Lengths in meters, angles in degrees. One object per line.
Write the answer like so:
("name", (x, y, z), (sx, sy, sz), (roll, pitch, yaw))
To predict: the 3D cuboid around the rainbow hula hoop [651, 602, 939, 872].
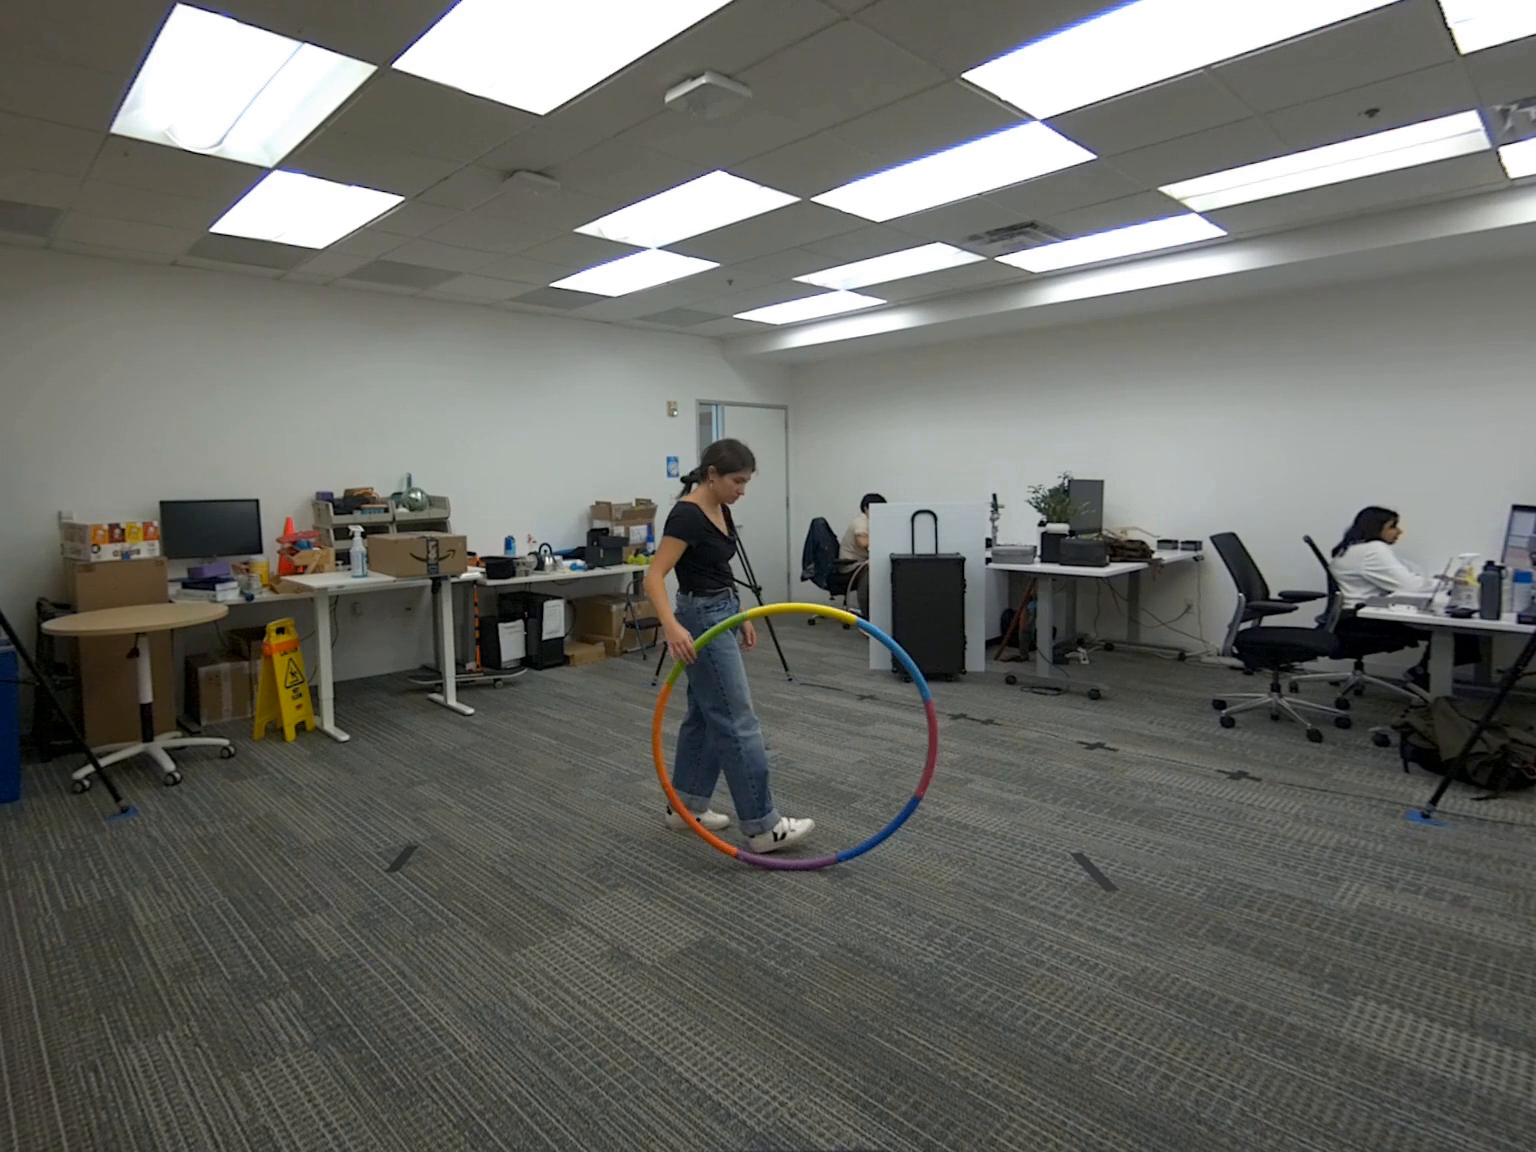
("rainbow hula hoop", (0.095, 0.572, 2.974), (0.982, 0.970, 0.036), (-1, 8, 4))
